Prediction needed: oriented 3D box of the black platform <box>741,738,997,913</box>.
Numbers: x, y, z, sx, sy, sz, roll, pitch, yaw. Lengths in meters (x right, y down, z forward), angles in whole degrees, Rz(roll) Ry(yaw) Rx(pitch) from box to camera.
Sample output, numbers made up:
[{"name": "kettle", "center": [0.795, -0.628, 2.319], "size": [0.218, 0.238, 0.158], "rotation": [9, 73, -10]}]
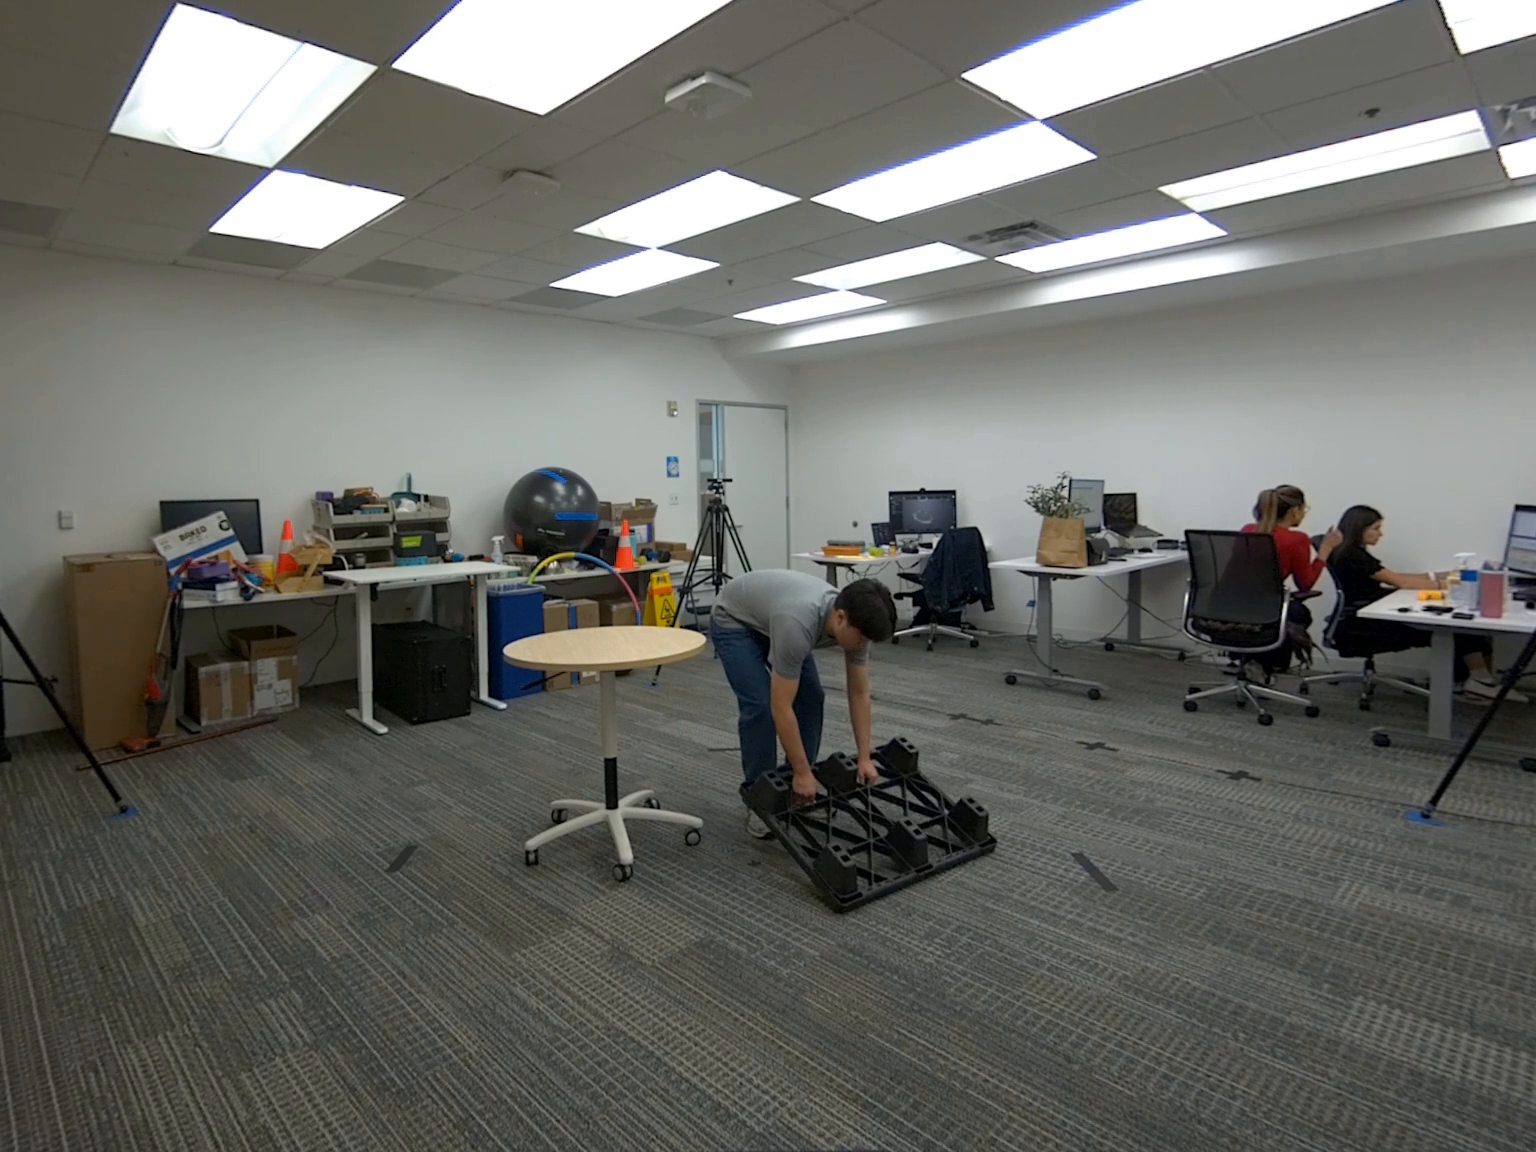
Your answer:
[{"name": "black platform", "center": [0.386, 0.851, 3.142], "size": [0.785, 0.141, 0.629], "rotation": [-6, 32, -36]}]
